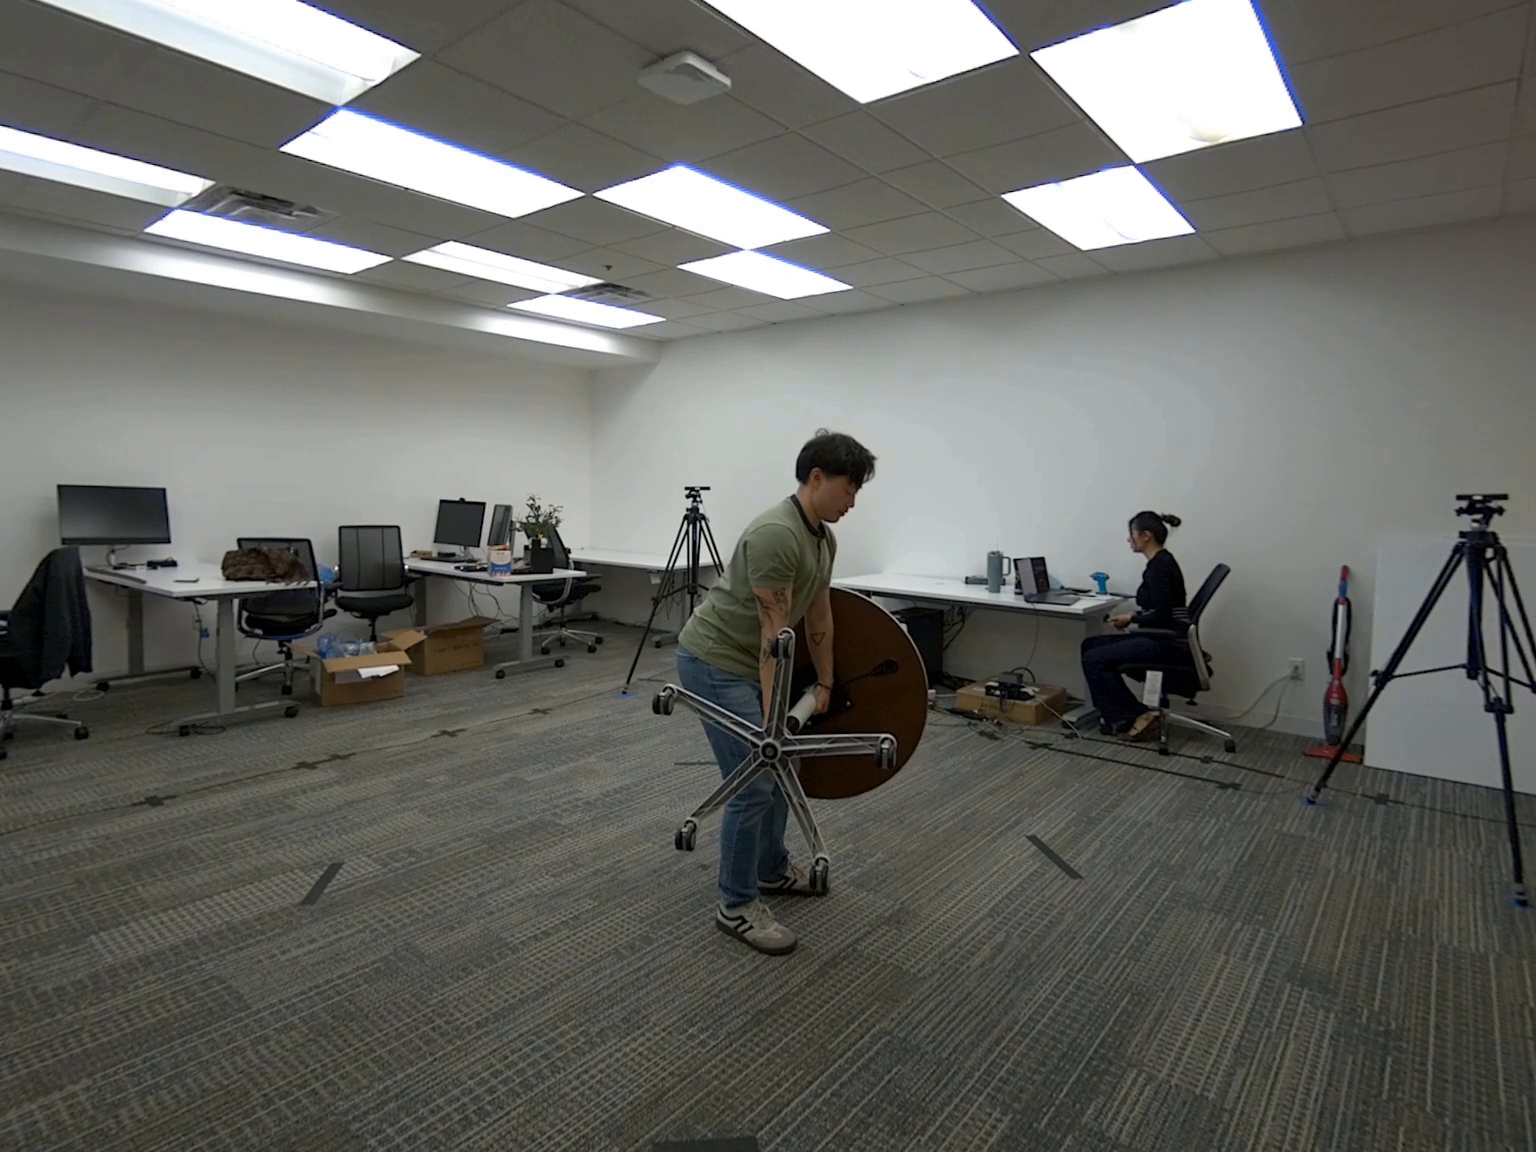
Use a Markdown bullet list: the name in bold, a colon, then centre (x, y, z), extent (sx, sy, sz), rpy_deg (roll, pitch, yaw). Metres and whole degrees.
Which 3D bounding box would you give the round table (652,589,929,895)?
- **round table**: centre (0.078, 0.463, 2.652), extent (0.778, 0.760, 0.783), rpy_deg (2, 6, 16)
